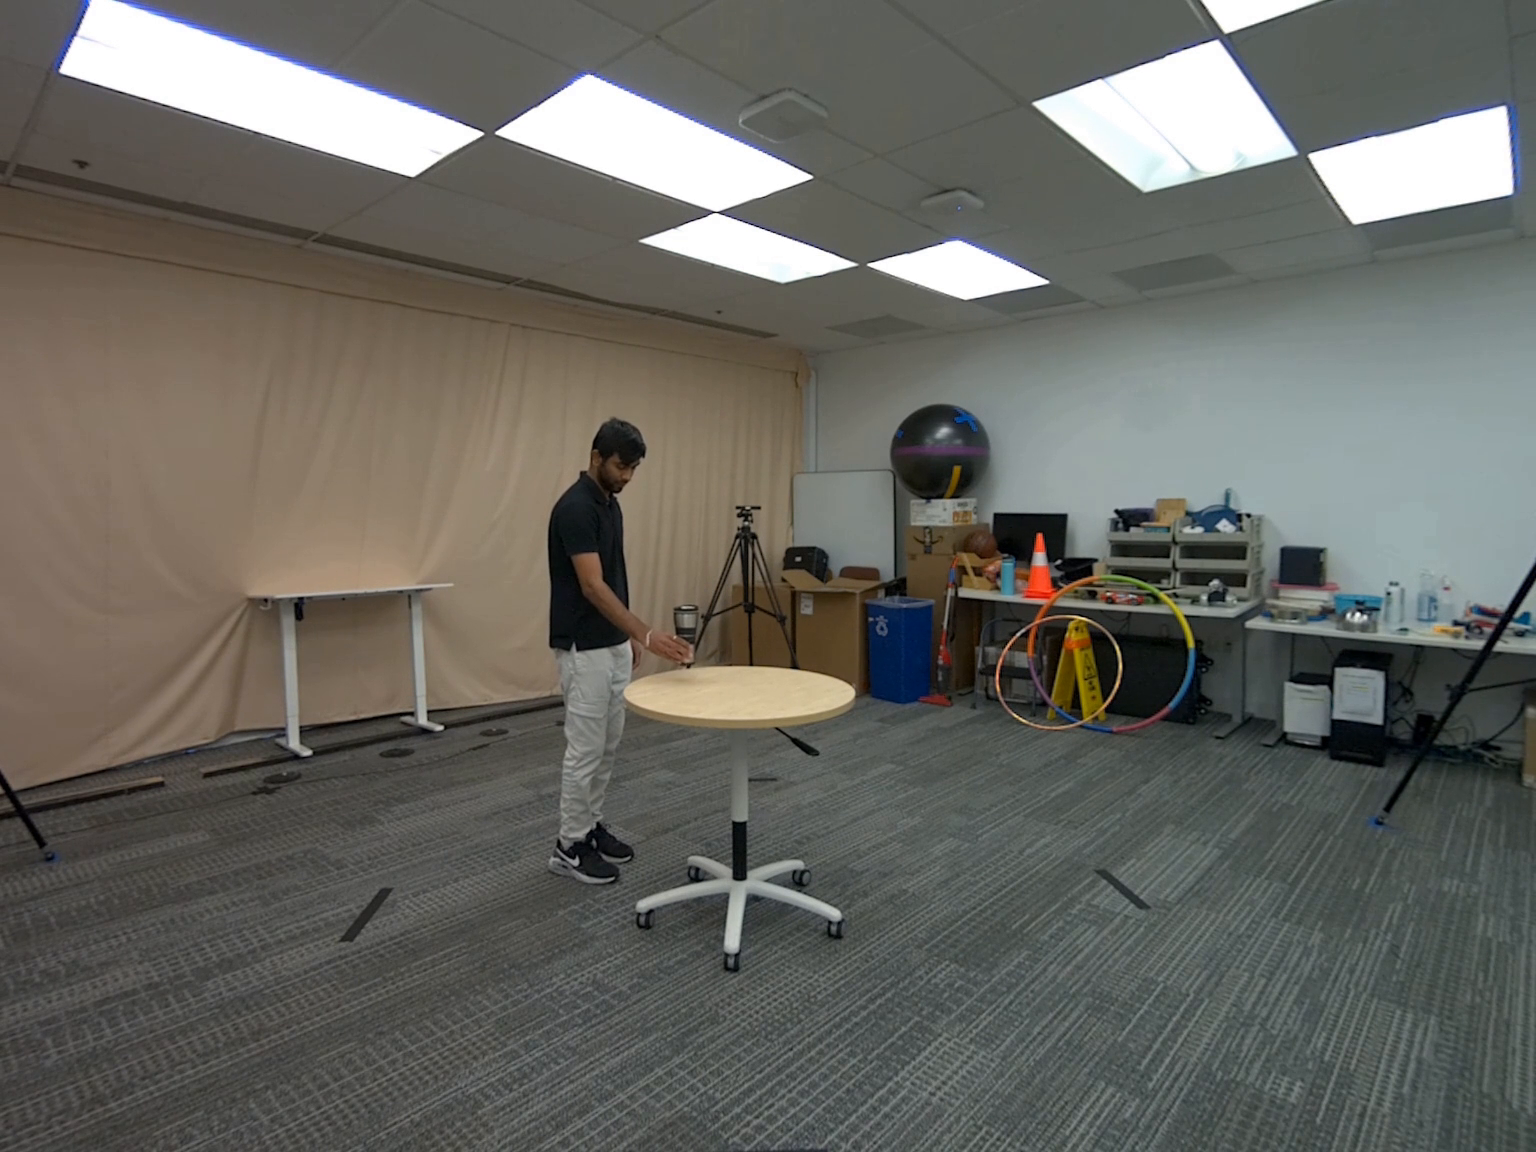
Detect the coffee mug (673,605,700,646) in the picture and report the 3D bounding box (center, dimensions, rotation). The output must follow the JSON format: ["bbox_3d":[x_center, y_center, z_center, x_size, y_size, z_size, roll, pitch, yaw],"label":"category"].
[{"bbox_3d":[-0.272,0.210,2.944,0.090,0.202,0.118,-1,4,36],"label":"coffee mug"}]
